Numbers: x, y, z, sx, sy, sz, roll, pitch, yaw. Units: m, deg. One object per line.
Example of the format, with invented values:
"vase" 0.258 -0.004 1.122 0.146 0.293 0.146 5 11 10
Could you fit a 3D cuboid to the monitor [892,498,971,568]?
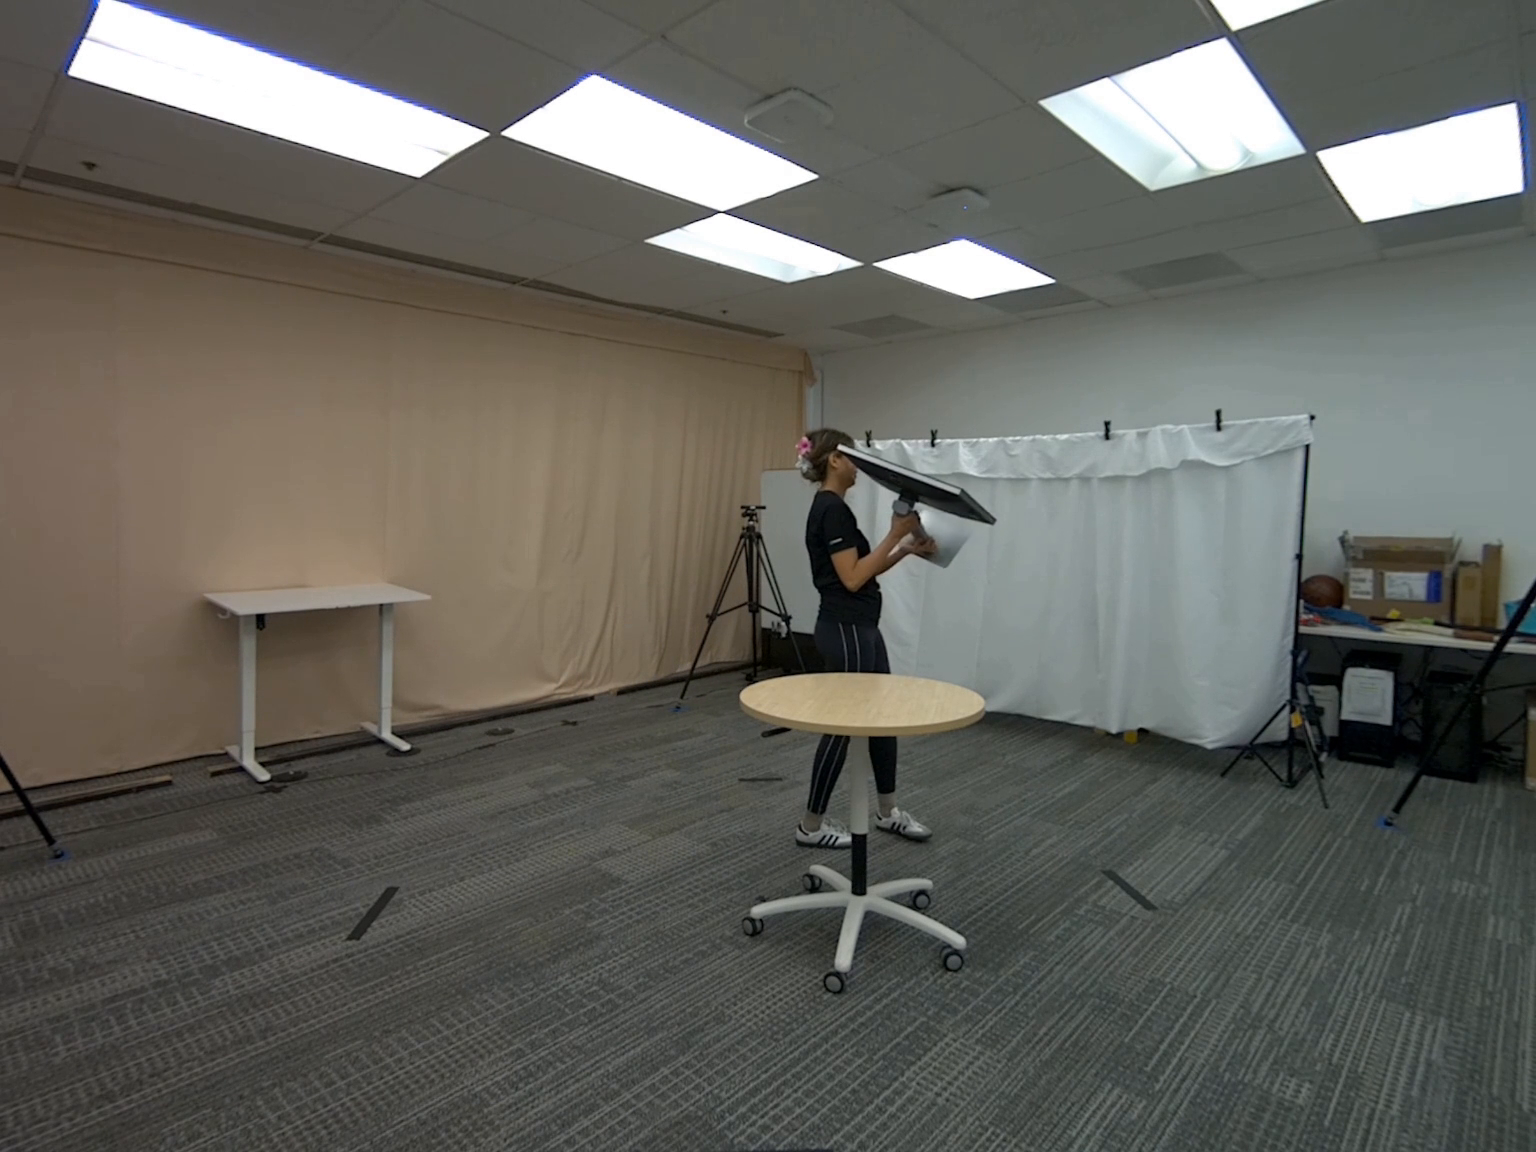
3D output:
"monitor" 0.595 -0.277 3.284 0.559 0.187 0.504 26 -14 38
